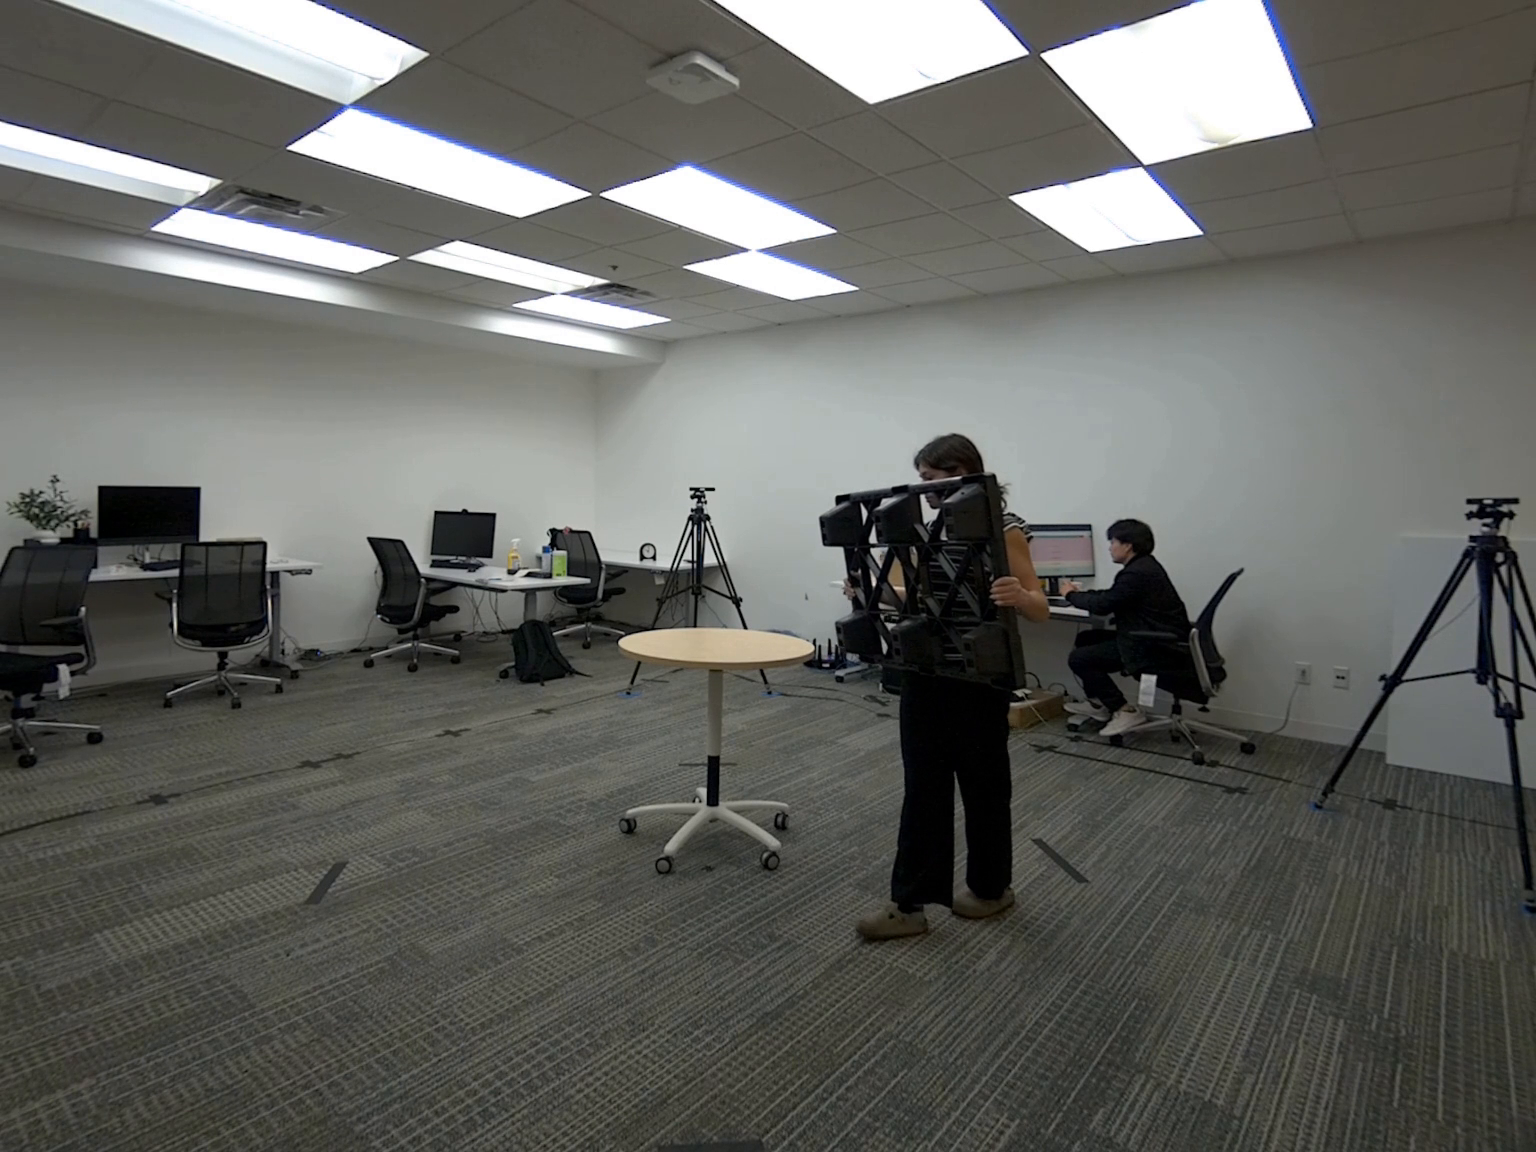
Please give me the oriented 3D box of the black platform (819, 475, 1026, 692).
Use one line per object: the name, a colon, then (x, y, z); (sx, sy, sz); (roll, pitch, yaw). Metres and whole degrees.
black platform: (0.417, 0.012, 2.641); (0.140, 0.604, 0.823); (-8, 3, -24)
